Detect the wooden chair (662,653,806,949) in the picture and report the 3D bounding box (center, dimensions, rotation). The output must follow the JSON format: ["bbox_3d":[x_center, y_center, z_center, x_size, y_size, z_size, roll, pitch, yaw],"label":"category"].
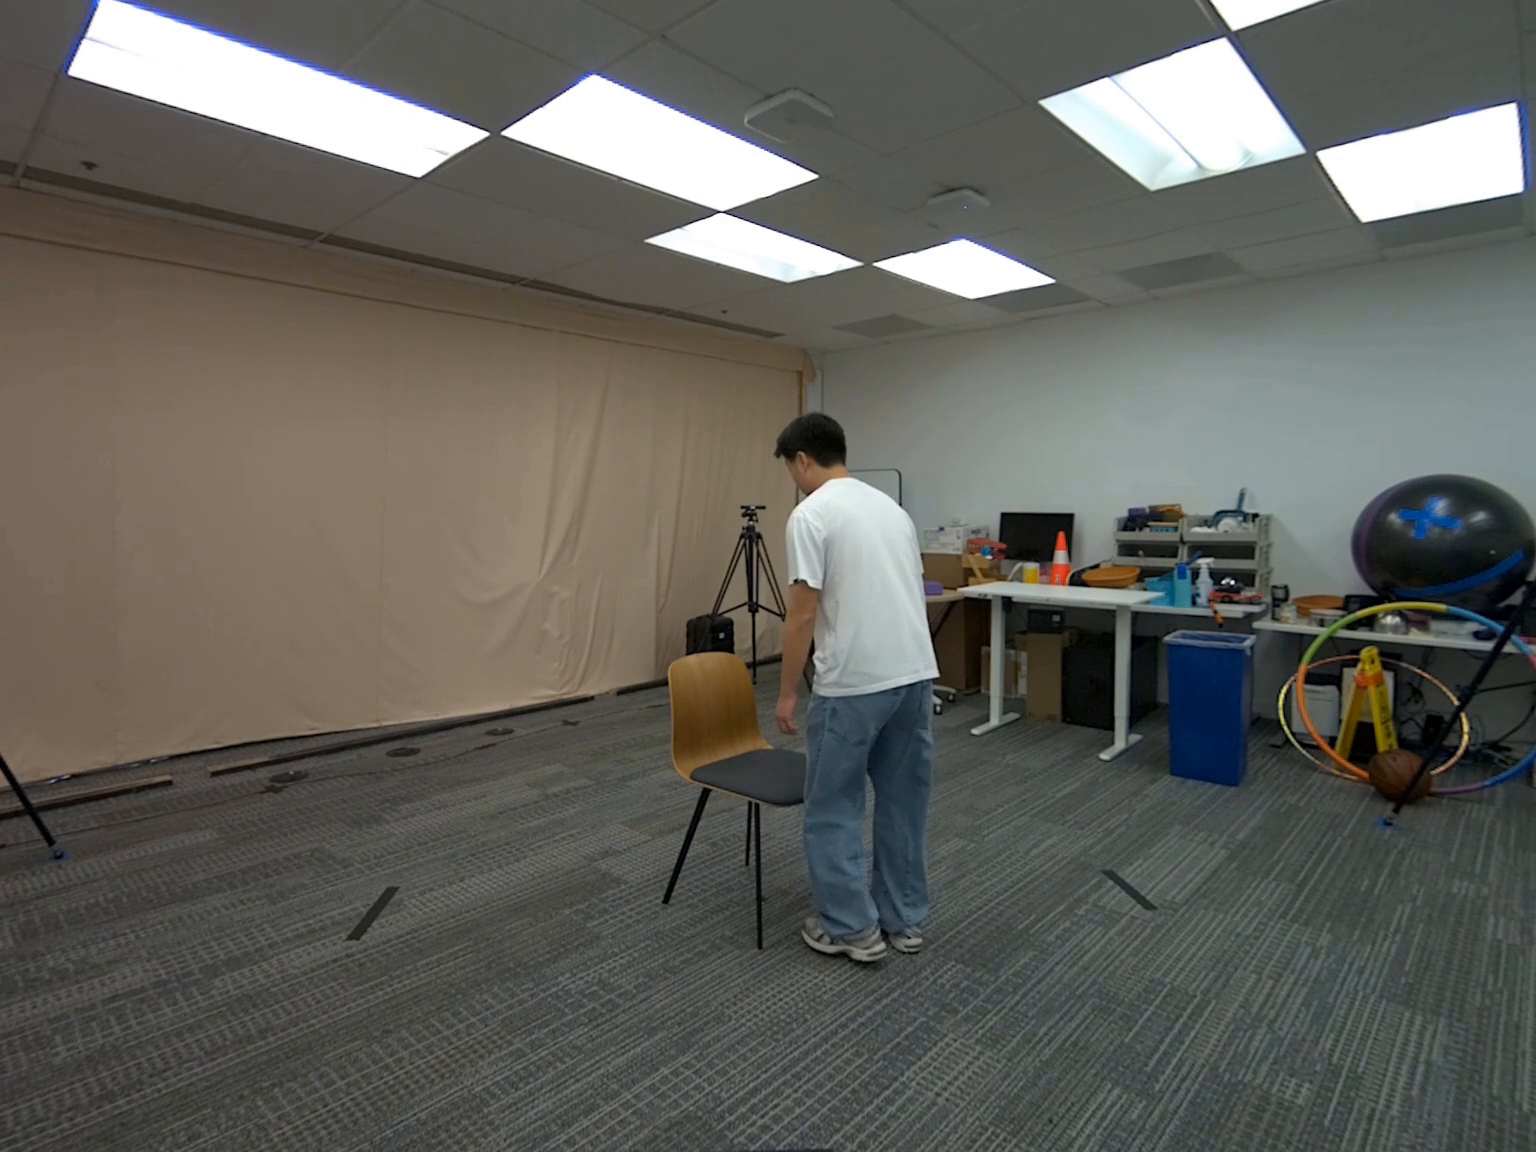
[{"bbox_3d":[-0.049,0.723,2.921,0.539,0.877,0.463,-3,1,42],"label":"wooden chair"}]
